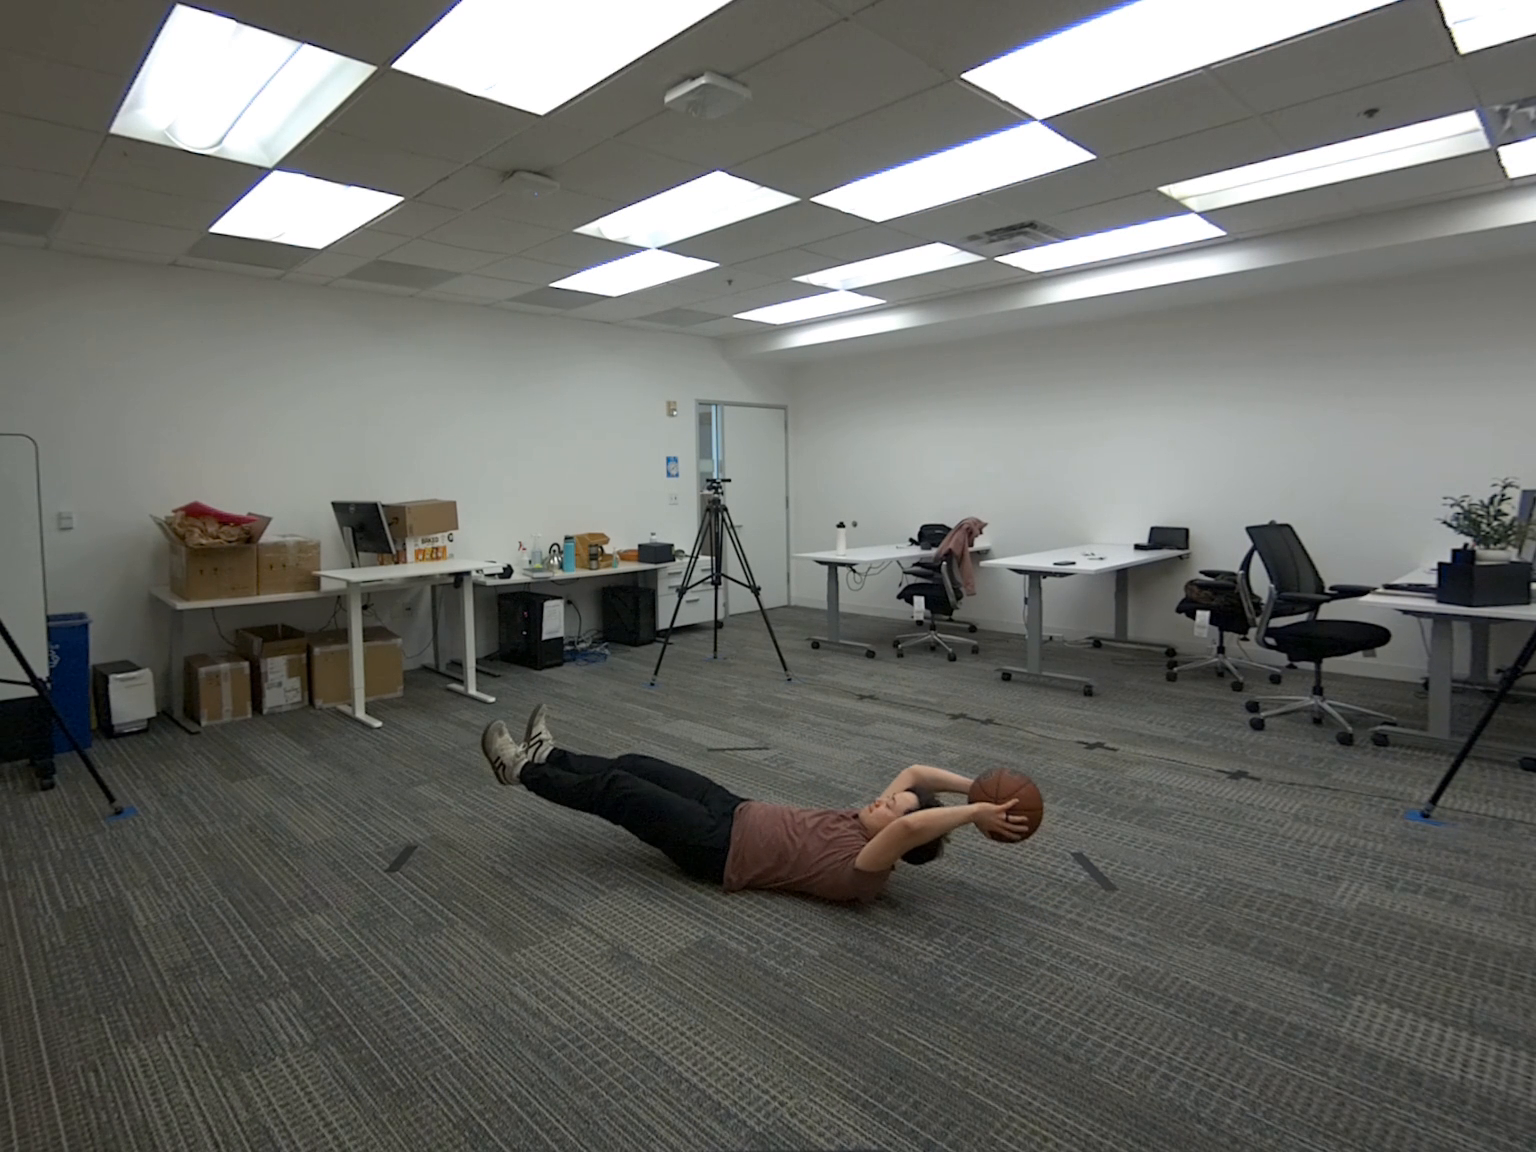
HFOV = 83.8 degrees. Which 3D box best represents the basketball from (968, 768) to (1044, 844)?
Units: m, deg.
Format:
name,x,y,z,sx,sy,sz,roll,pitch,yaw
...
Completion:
name,x,y,z,sx,sy,sz,roll,pitch,yaw
basketball,0.774,0.745,2.780,0.236,0.236,0.236,0,1,-2
